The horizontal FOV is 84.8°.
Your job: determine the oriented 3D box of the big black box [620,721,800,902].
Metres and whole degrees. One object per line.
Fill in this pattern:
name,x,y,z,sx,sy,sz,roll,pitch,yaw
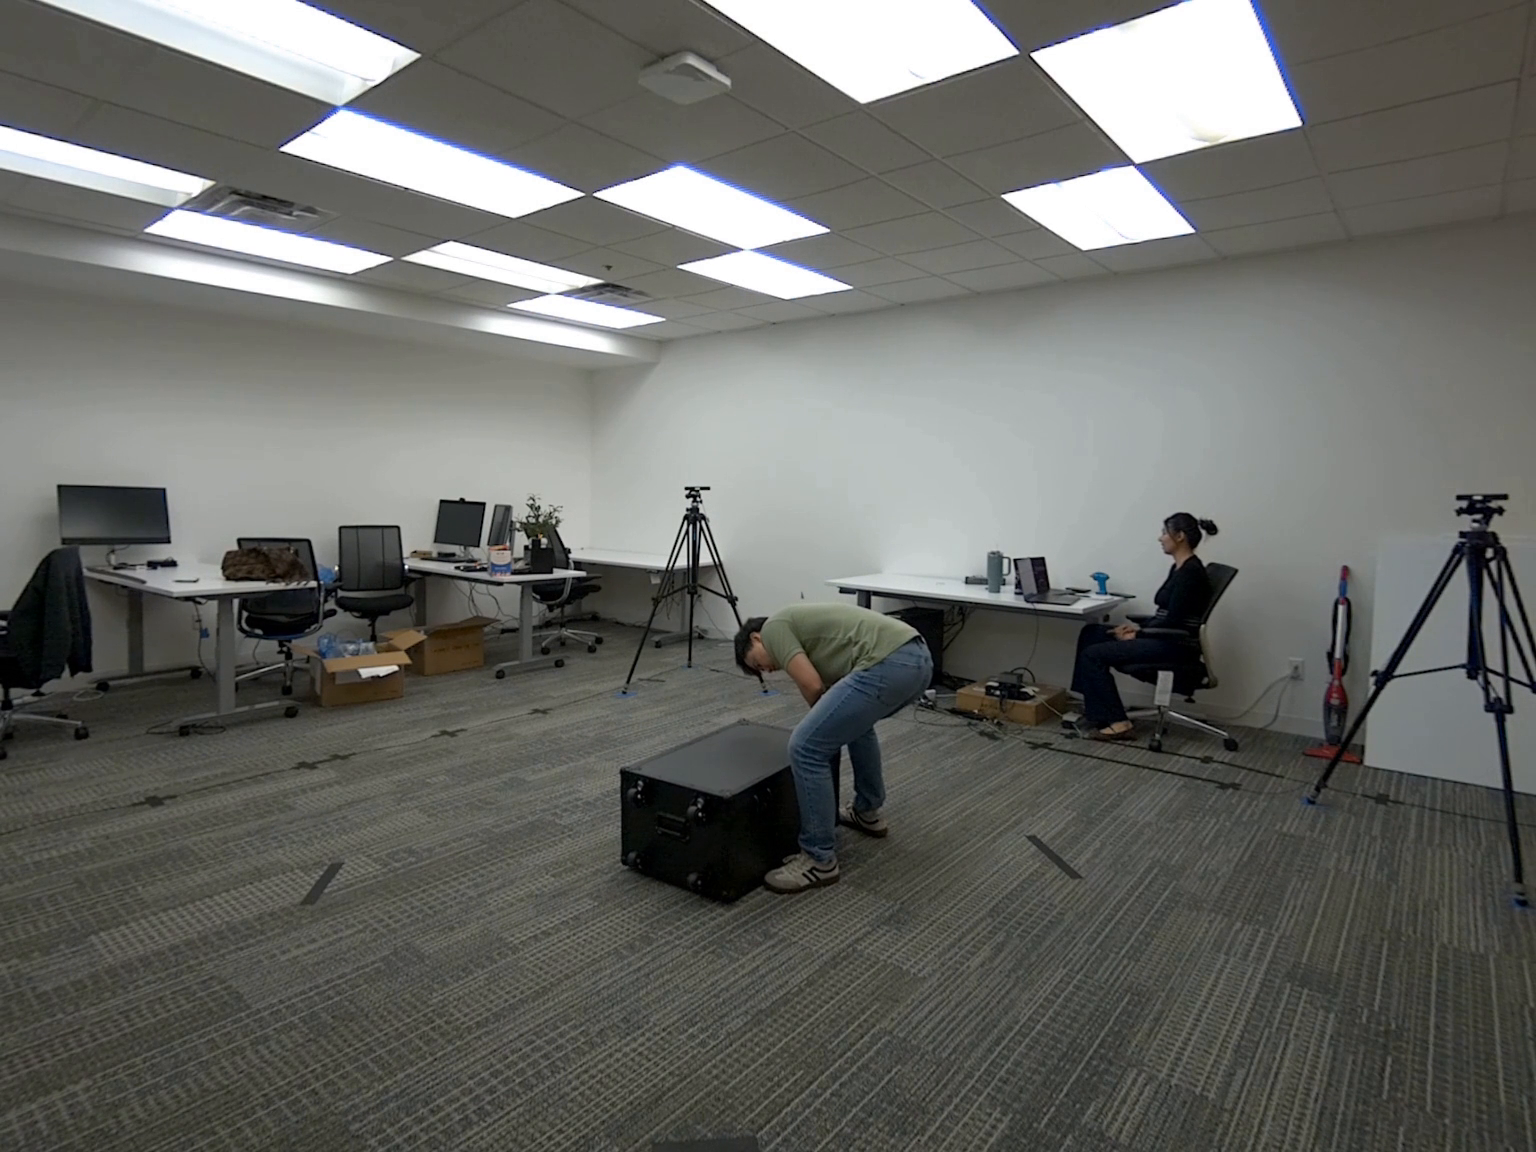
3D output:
big black box,-0.159,0.859,3.220,0.537,0.395,0.838,4,6,33
